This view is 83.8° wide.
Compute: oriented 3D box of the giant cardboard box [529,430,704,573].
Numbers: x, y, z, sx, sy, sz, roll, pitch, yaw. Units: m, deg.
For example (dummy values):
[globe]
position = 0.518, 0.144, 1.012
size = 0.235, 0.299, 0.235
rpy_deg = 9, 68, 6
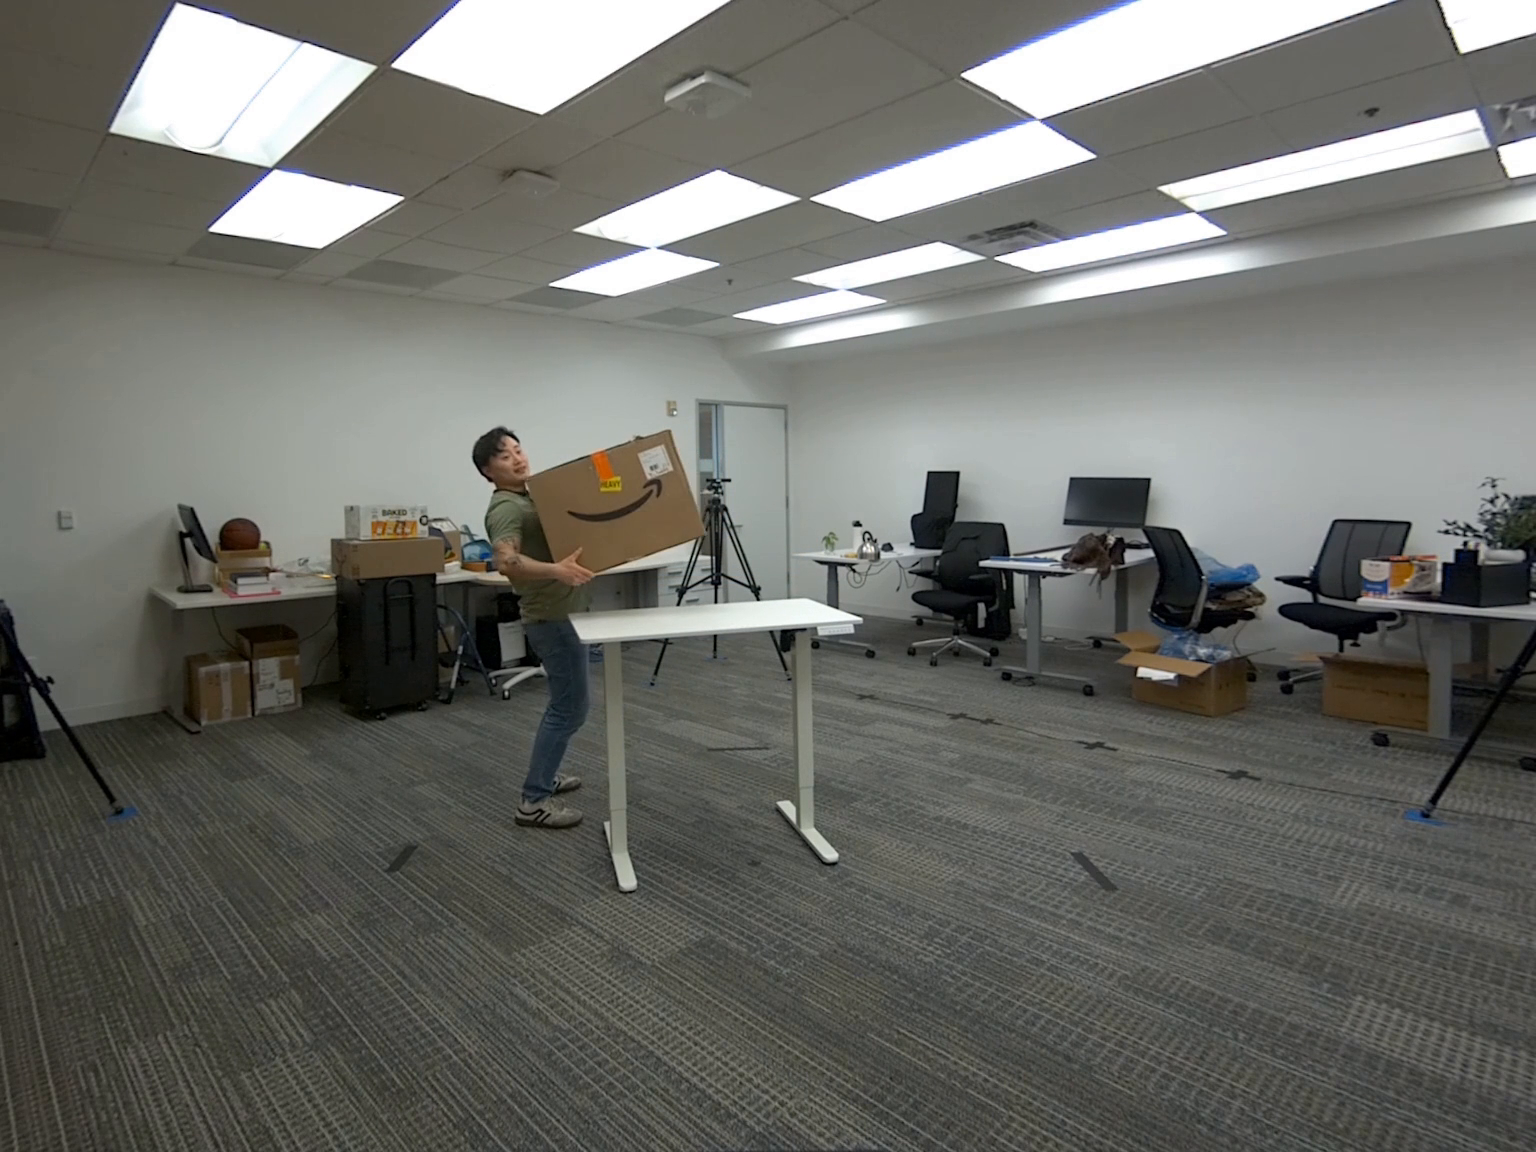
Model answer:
[giant cardboard box]
position = -0.643, -0.338, 3.694
size = 0.576, 0.422, 1.038
rpy_deg = -20, 9, -5
